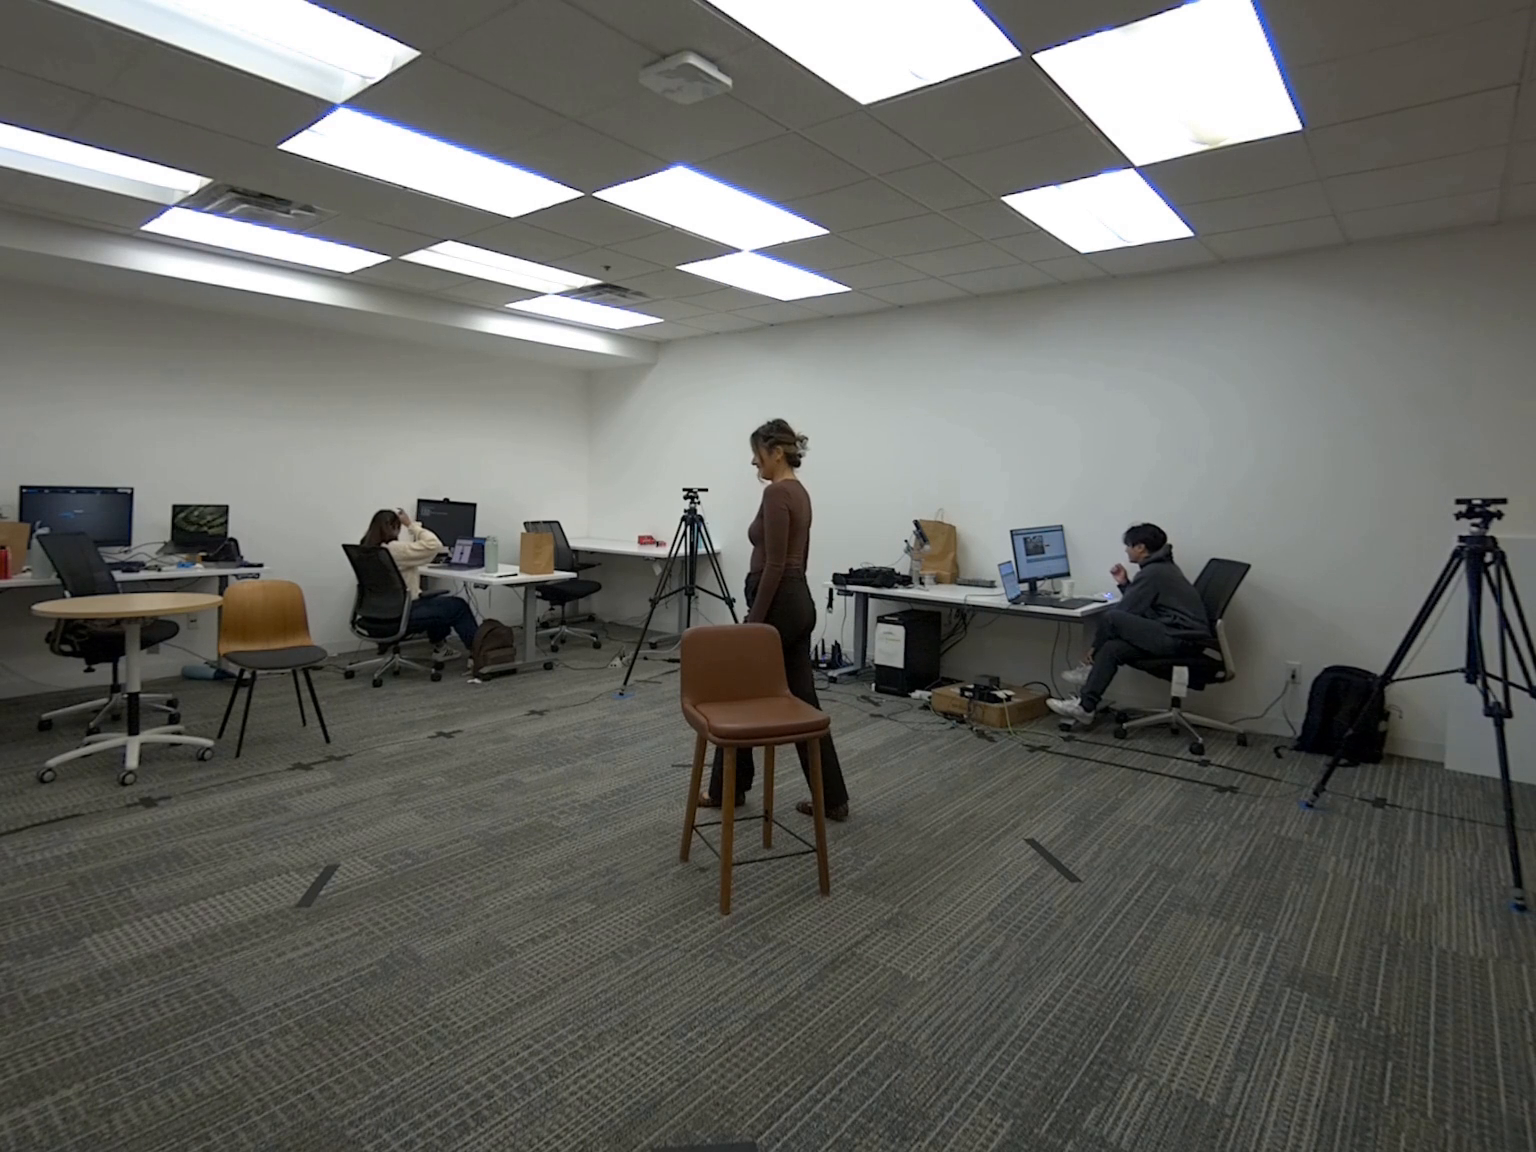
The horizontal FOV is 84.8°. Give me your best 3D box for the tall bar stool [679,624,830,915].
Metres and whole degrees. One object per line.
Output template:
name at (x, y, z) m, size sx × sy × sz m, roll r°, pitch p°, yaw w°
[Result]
tall bar stool at (-0.066, 0.643, 3.046) m, size 0.445 × 0.889 × 0.480 m, roll 0°, pitch 1°, yaw -26°
